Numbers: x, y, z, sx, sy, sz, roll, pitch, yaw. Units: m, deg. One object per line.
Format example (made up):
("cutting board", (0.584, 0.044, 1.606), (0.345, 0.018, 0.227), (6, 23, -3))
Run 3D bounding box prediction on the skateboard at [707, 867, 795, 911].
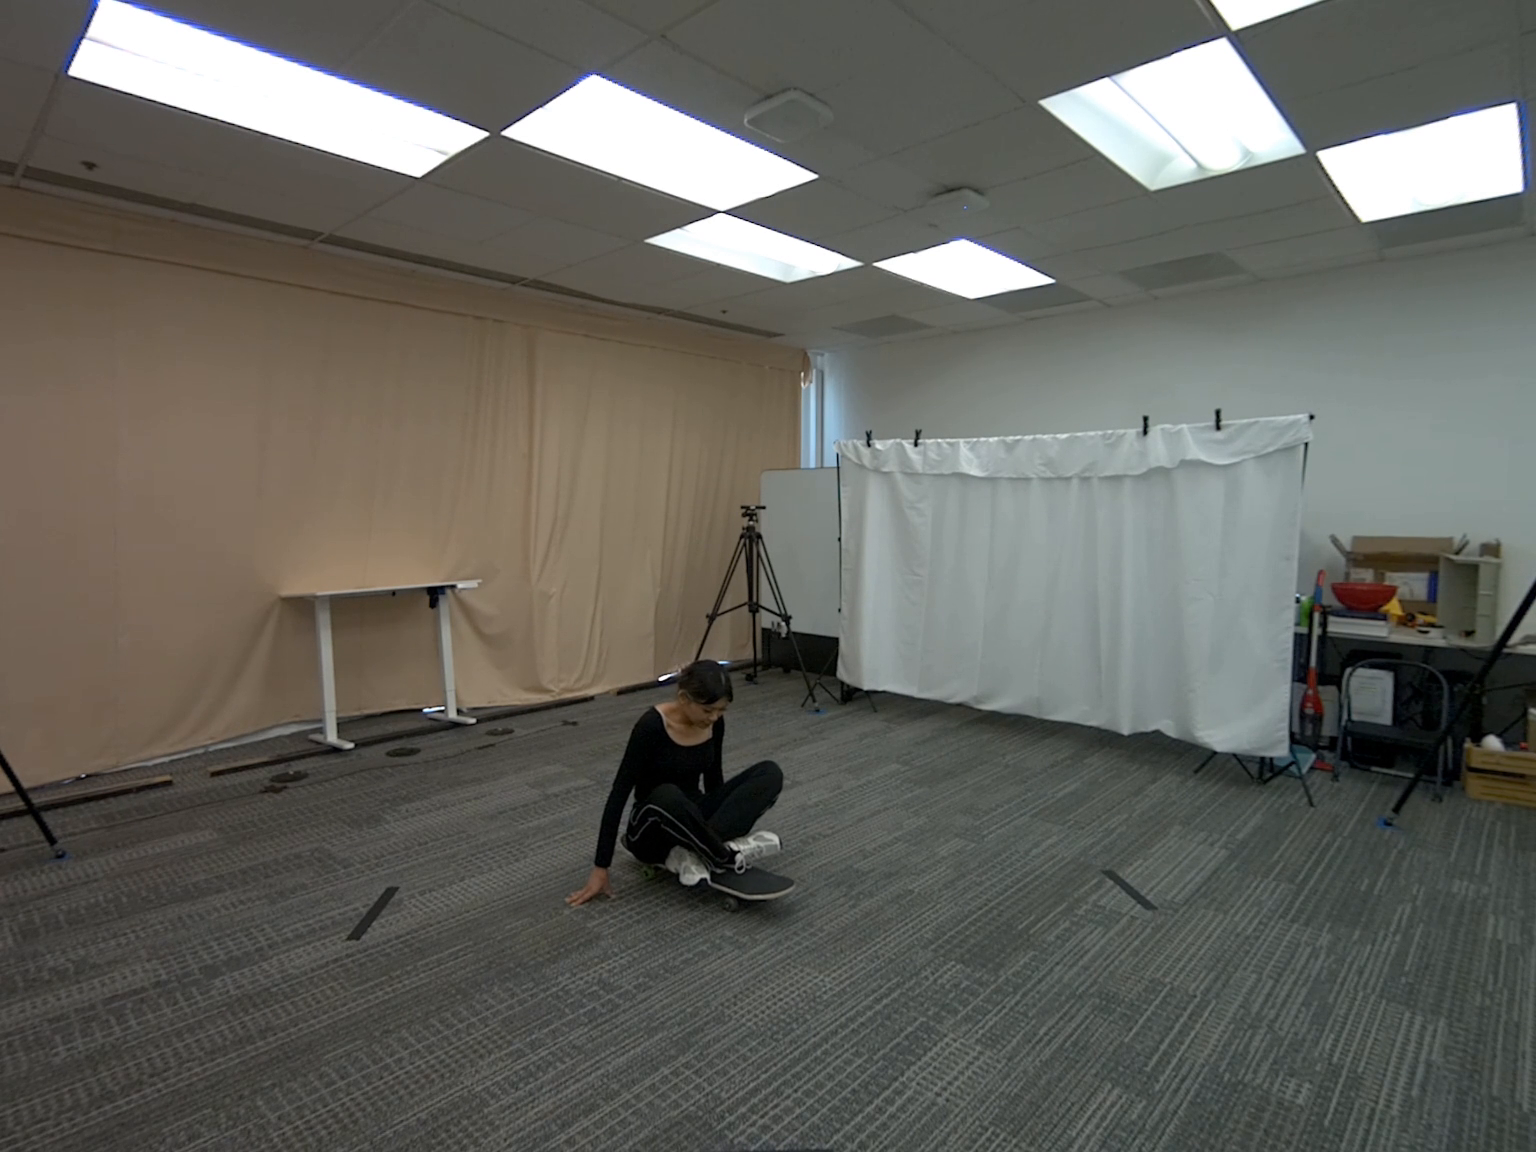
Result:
("skateboard", (-0.228, 1.077, 3.082), (0.810, 0.110, 0.188), (1, 5, 37))
